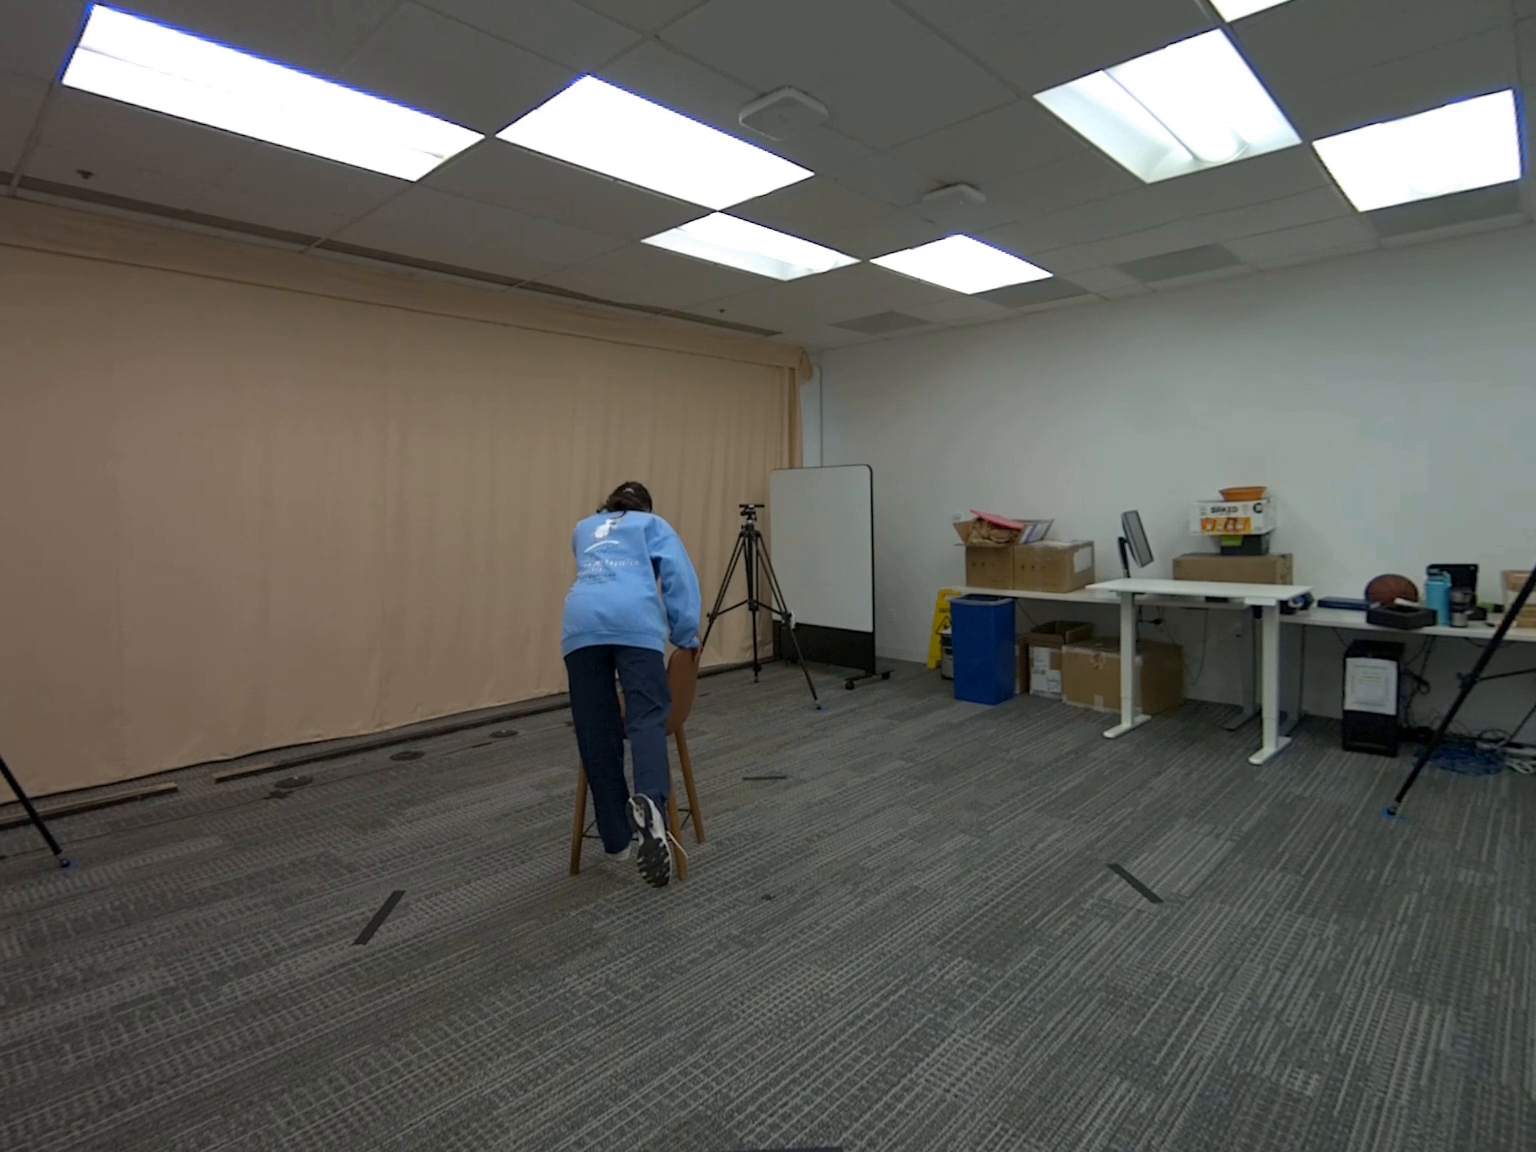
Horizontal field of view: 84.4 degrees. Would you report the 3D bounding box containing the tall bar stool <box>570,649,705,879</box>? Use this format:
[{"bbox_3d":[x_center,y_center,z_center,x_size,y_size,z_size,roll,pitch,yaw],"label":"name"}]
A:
[{"bbox_3d":[-0.513,0.685,3.342,0.473,0.888,0.452,1,4,9],"label":"tall bar stool"}]
